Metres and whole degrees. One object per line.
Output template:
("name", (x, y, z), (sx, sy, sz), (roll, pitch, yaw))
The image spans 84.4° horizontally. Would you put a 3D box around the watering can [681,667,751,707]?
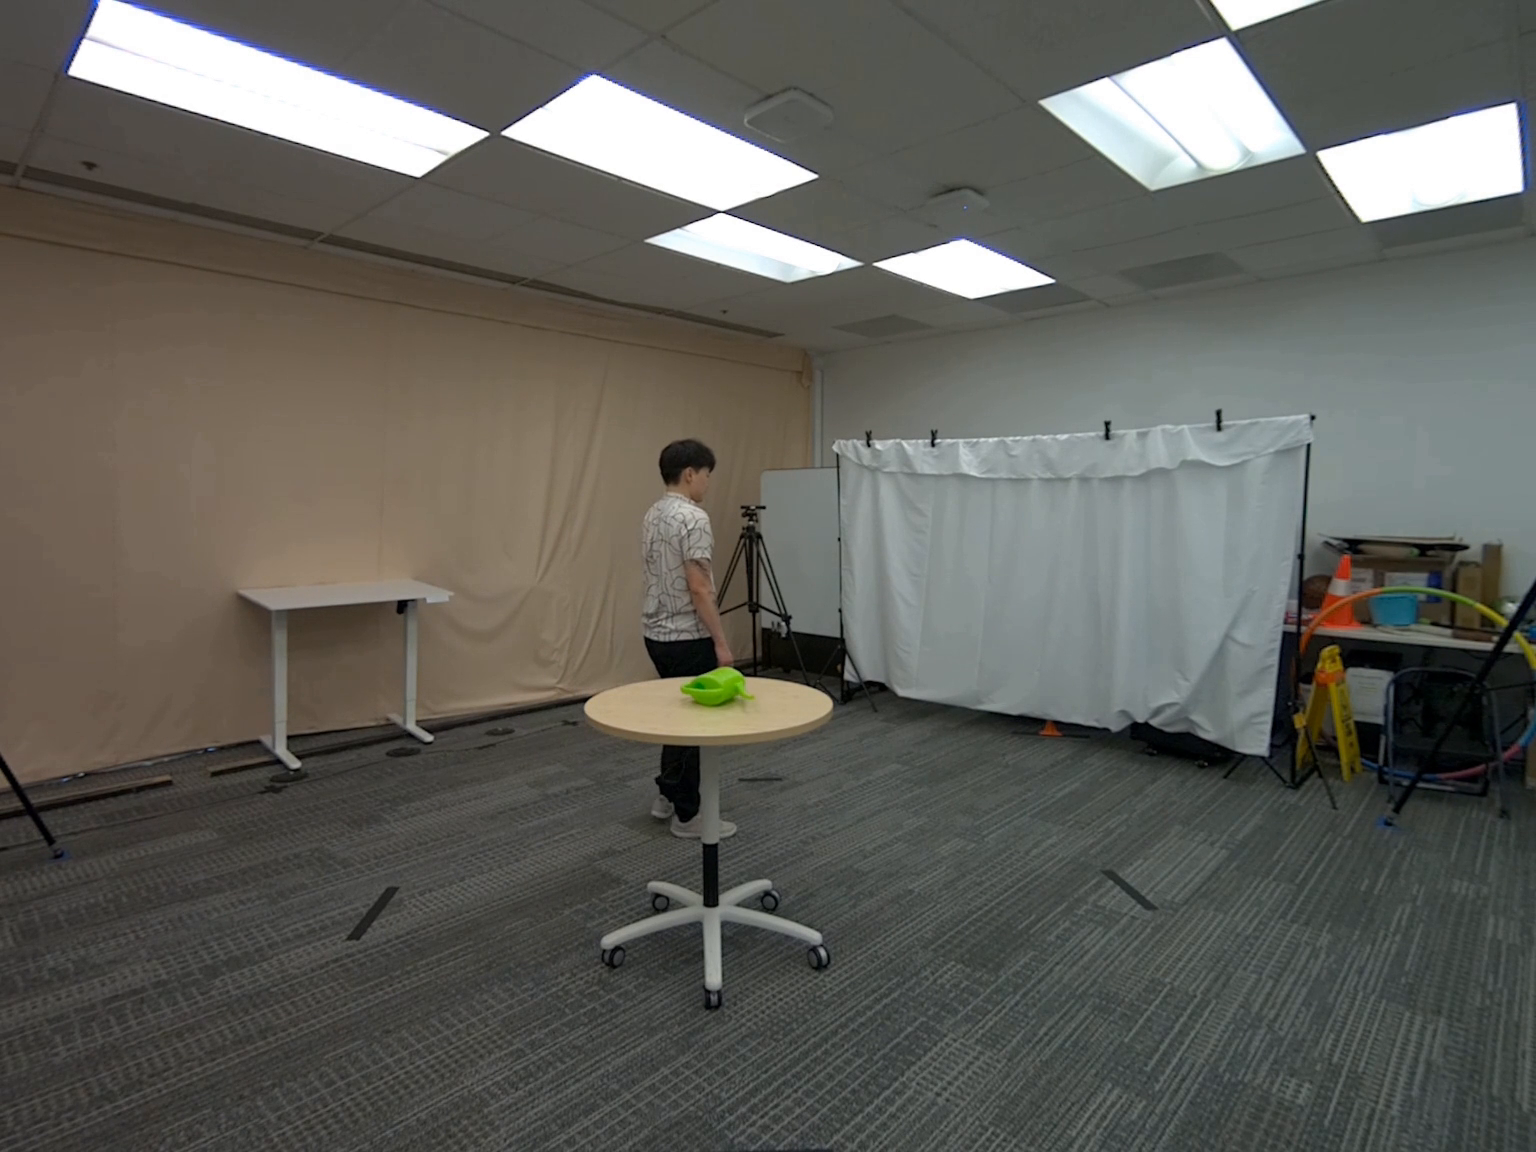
("watering can", (-0.126, 0.354, 2.575), (0.287, 0.097, 0.172), (15, 12, 29))
